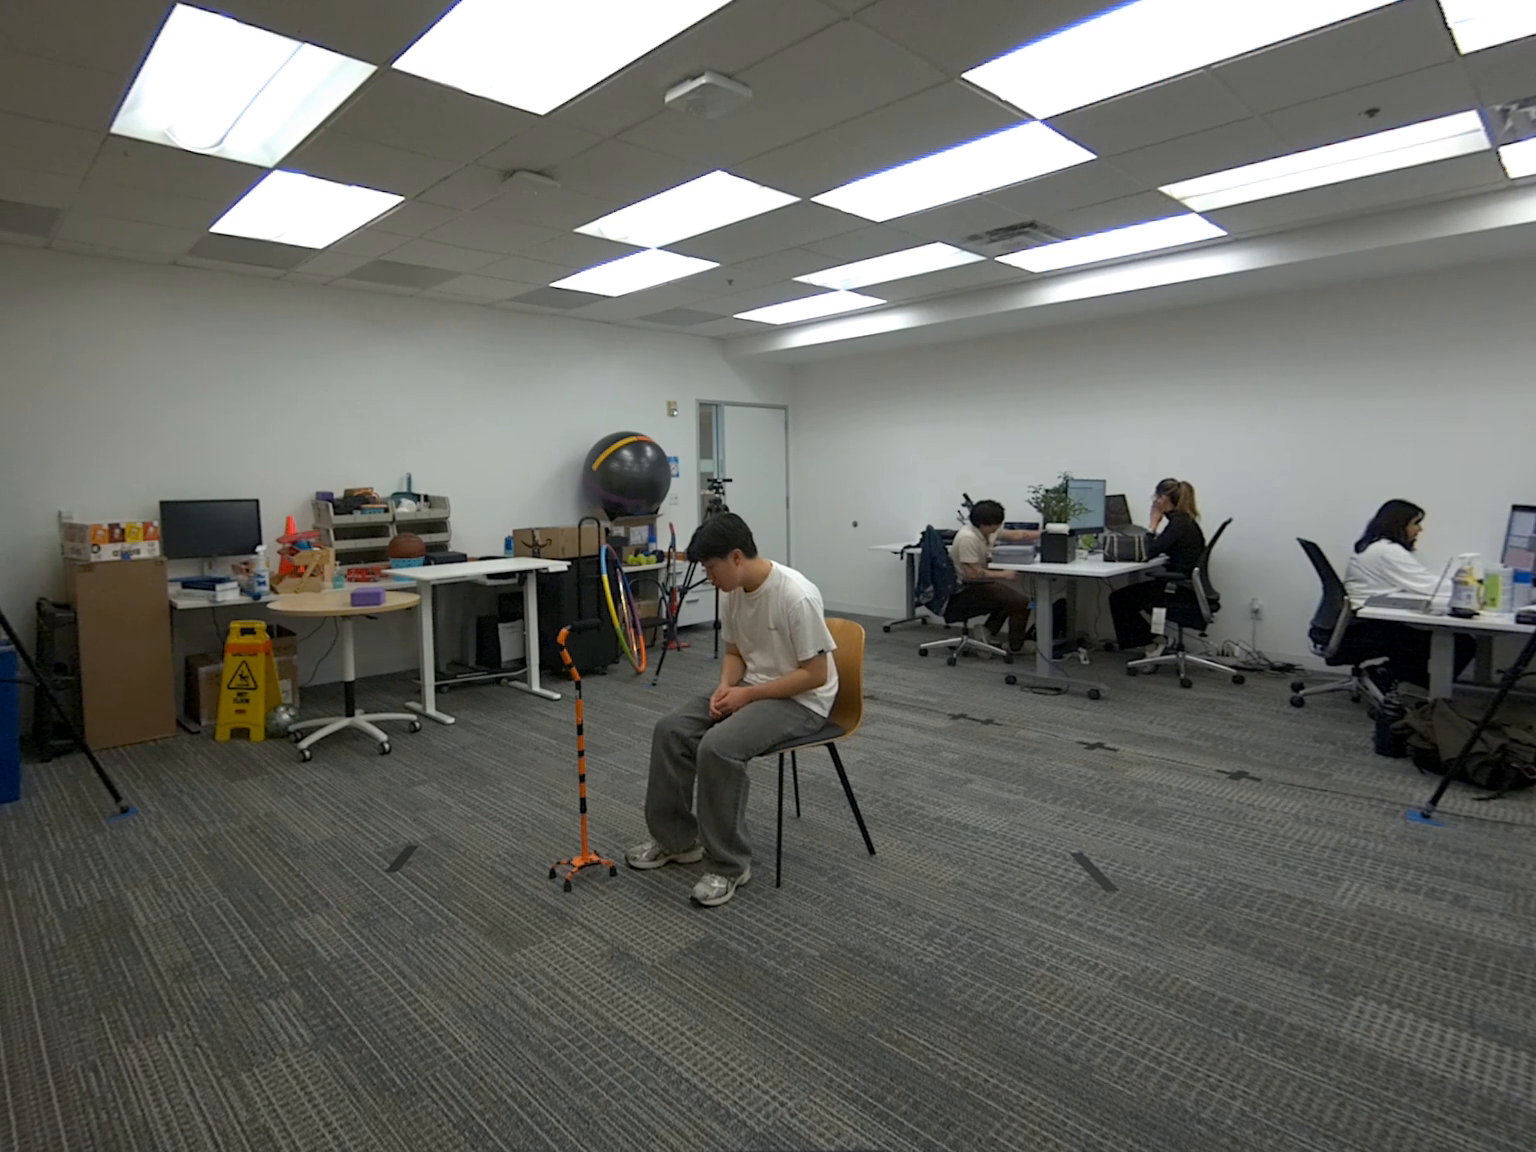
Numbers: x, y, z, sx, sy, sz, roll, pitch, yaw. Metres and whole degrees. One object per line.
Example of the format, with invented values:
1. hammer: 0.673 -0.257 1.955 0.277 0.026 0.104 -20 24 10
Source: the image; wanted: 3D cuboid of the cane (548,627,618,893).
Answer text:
1. cane: -0.666 0.613 3.006 0.201 0.904 0.156 -4 5 -37
